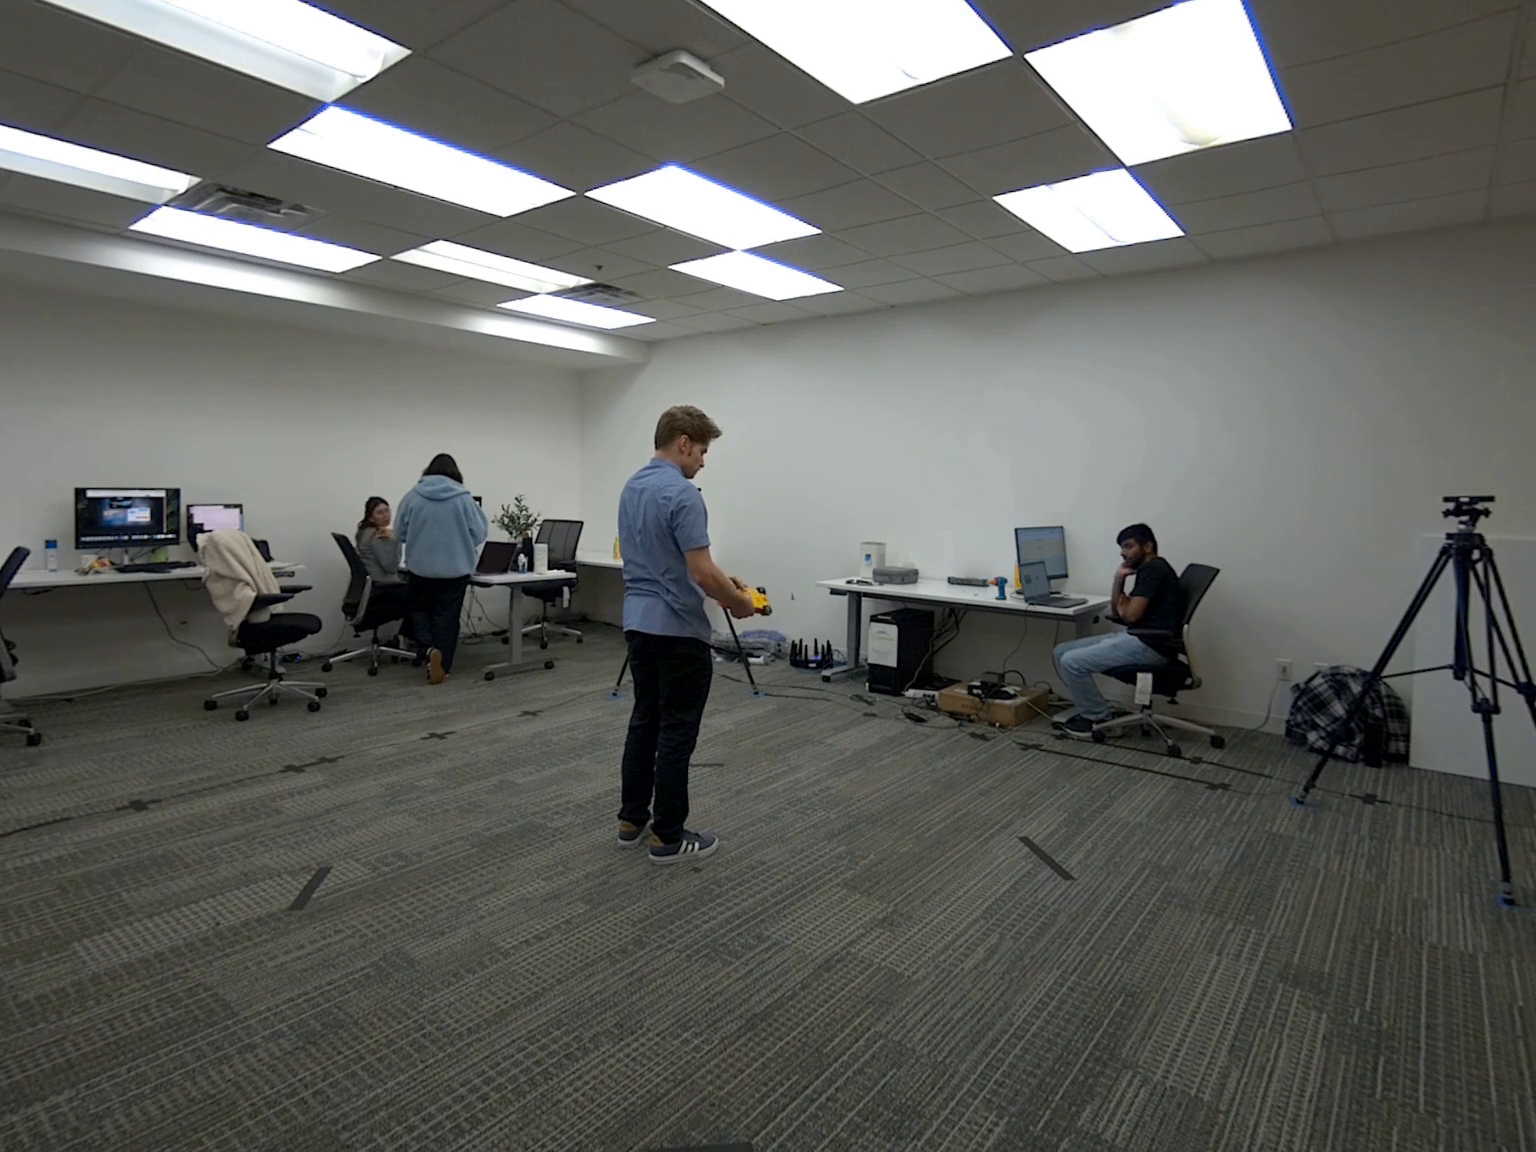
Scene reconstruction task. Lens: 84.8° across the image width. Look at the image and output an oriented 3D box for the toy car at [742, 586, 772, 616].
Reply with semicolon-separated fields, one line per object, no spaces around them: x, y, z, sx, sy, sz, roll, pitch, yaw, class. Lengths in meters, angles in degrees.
-0.100;0.094;3.329;0.248;0.135;0.082;1;-37;-26;toy car
